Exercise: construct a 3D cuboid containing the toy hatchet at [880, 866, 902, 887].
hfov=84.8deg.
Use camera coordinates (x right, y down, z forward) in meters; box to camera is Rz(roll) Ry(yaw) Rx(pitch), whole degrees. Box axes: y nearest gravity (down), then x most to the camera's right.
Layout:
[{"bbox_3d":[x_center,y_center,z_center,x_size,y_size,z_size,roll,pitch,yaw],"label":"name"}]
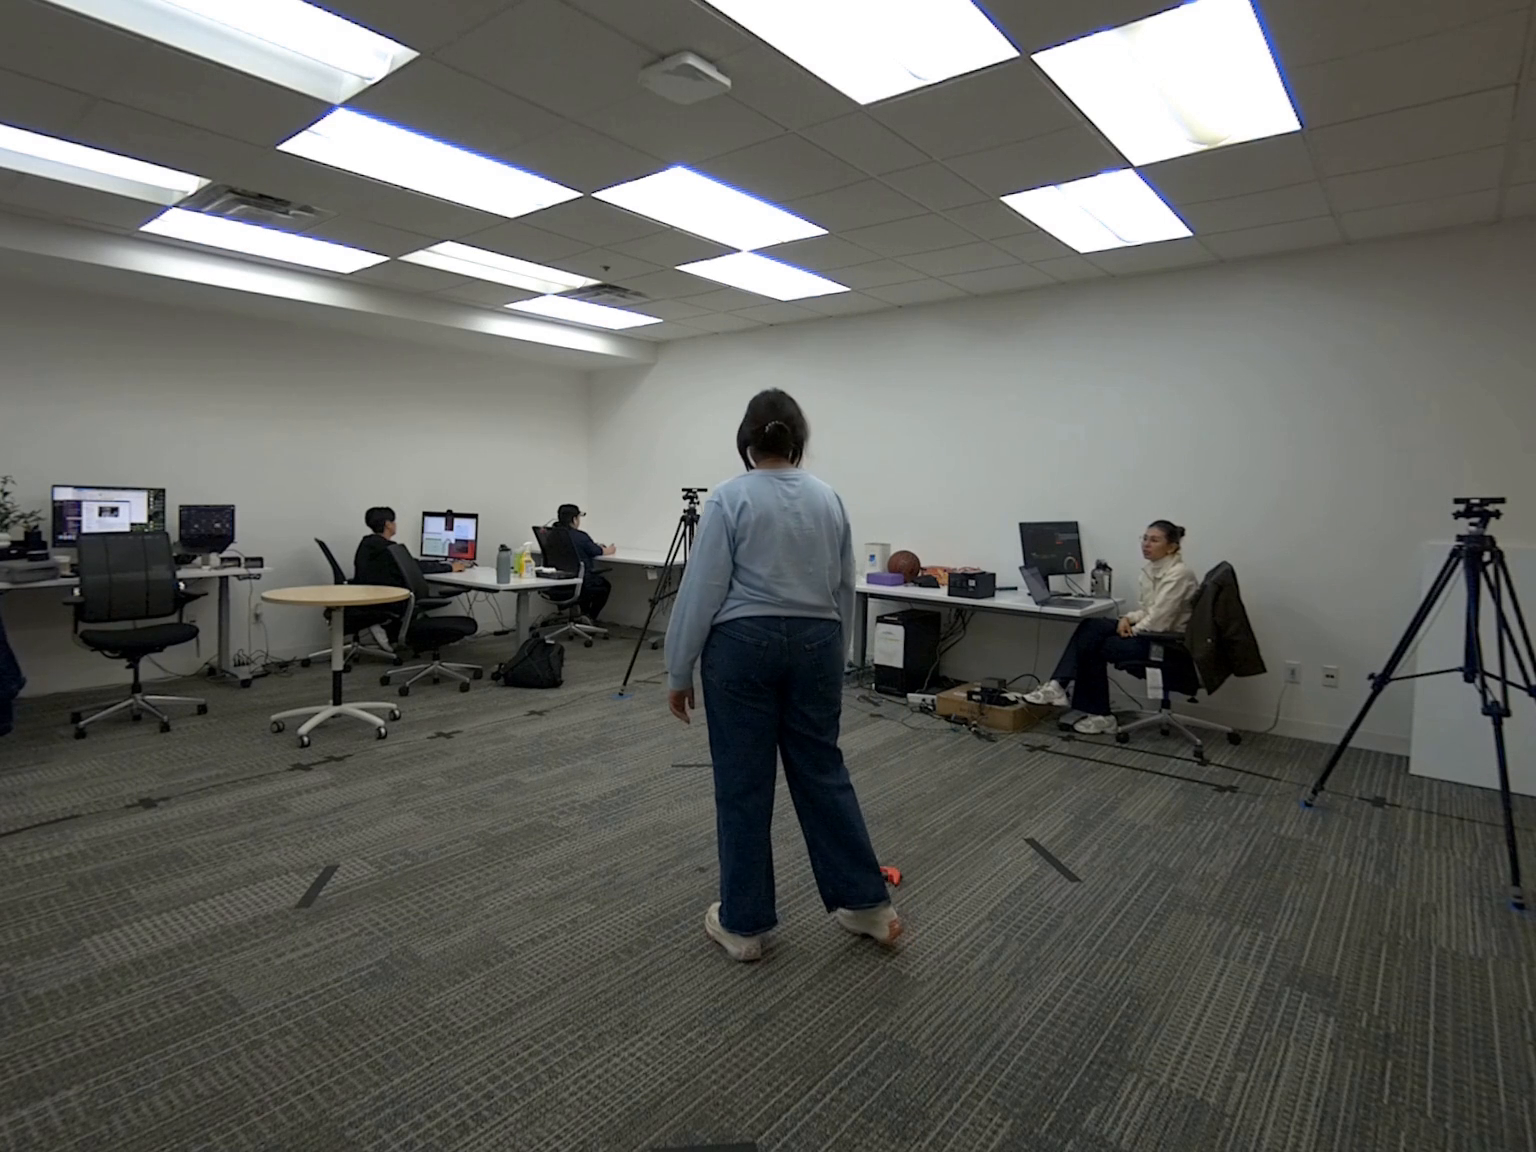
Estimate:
[{"bbox_3d":[0.344,1.063,3.099,0.277,0.029,0.128,2,6,26],"label":"toy hatchet"}]
